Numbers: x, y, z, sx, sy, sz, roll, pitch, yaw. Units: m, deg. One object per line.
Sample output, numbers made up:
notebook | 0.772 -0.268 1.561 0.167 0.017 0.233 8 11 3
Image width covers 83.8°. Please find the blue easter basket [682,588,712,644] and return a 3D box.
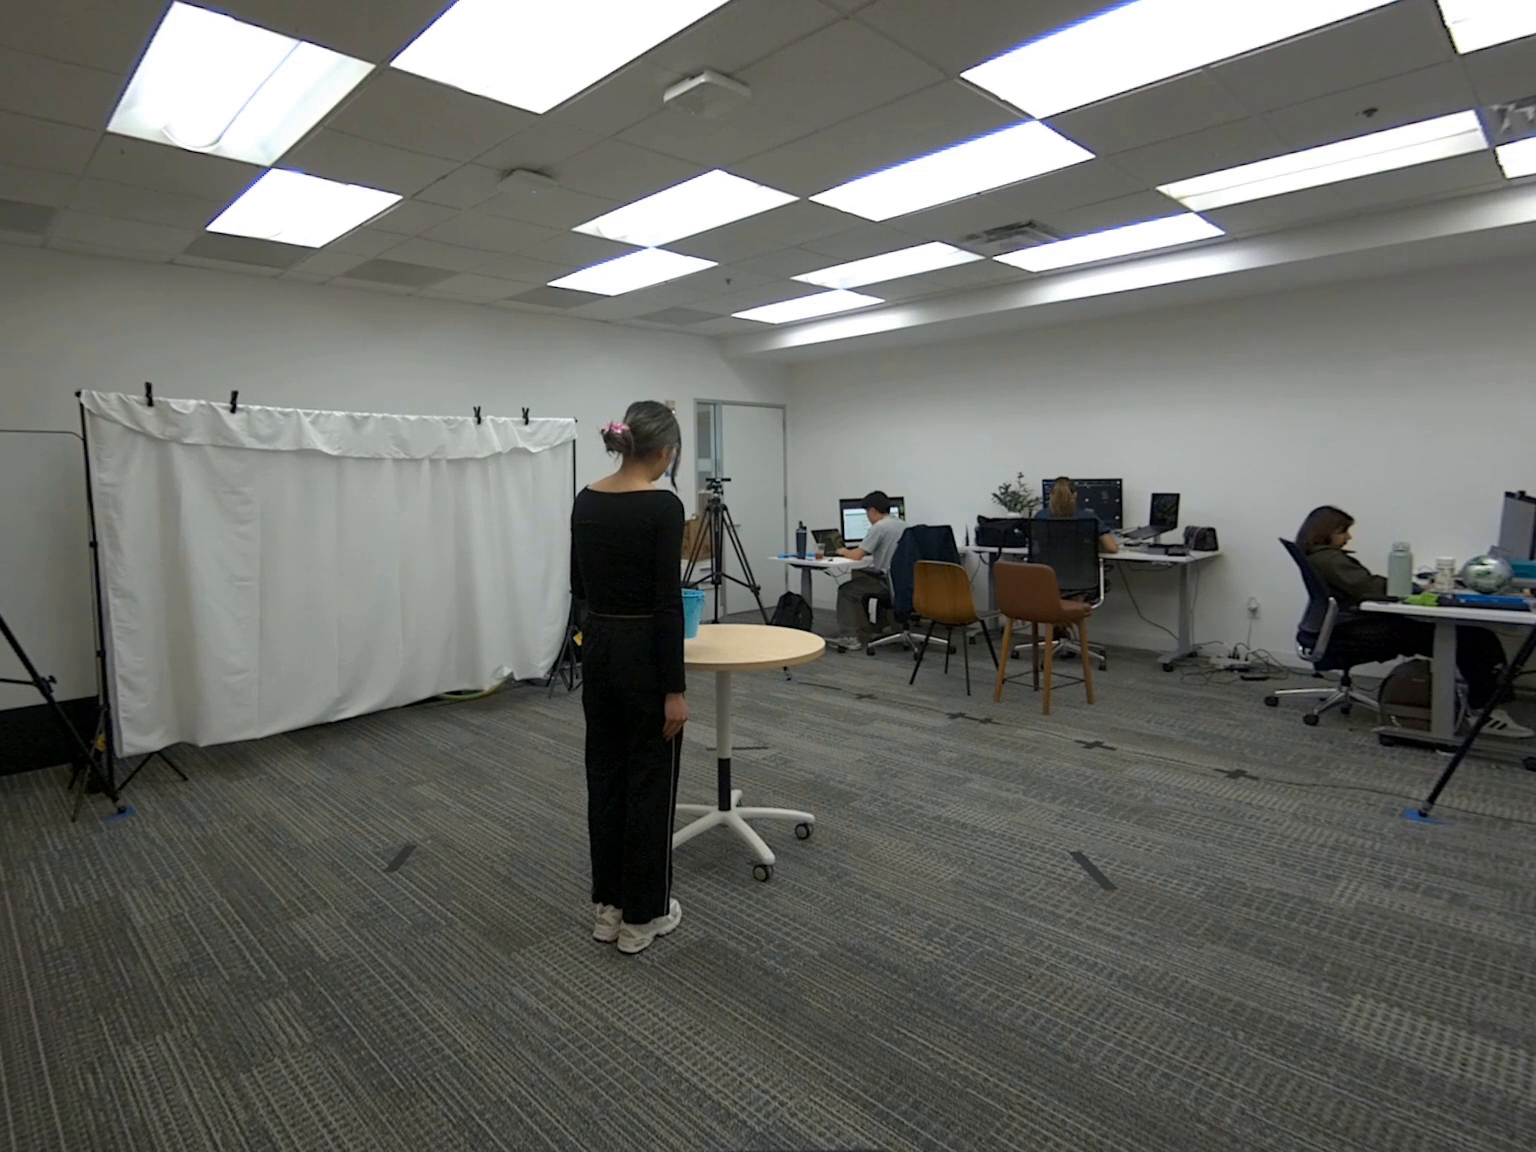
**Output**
blue easter basket | -0.325 0.131 2.989 0.243 0.155 0.244 3 4 -2
